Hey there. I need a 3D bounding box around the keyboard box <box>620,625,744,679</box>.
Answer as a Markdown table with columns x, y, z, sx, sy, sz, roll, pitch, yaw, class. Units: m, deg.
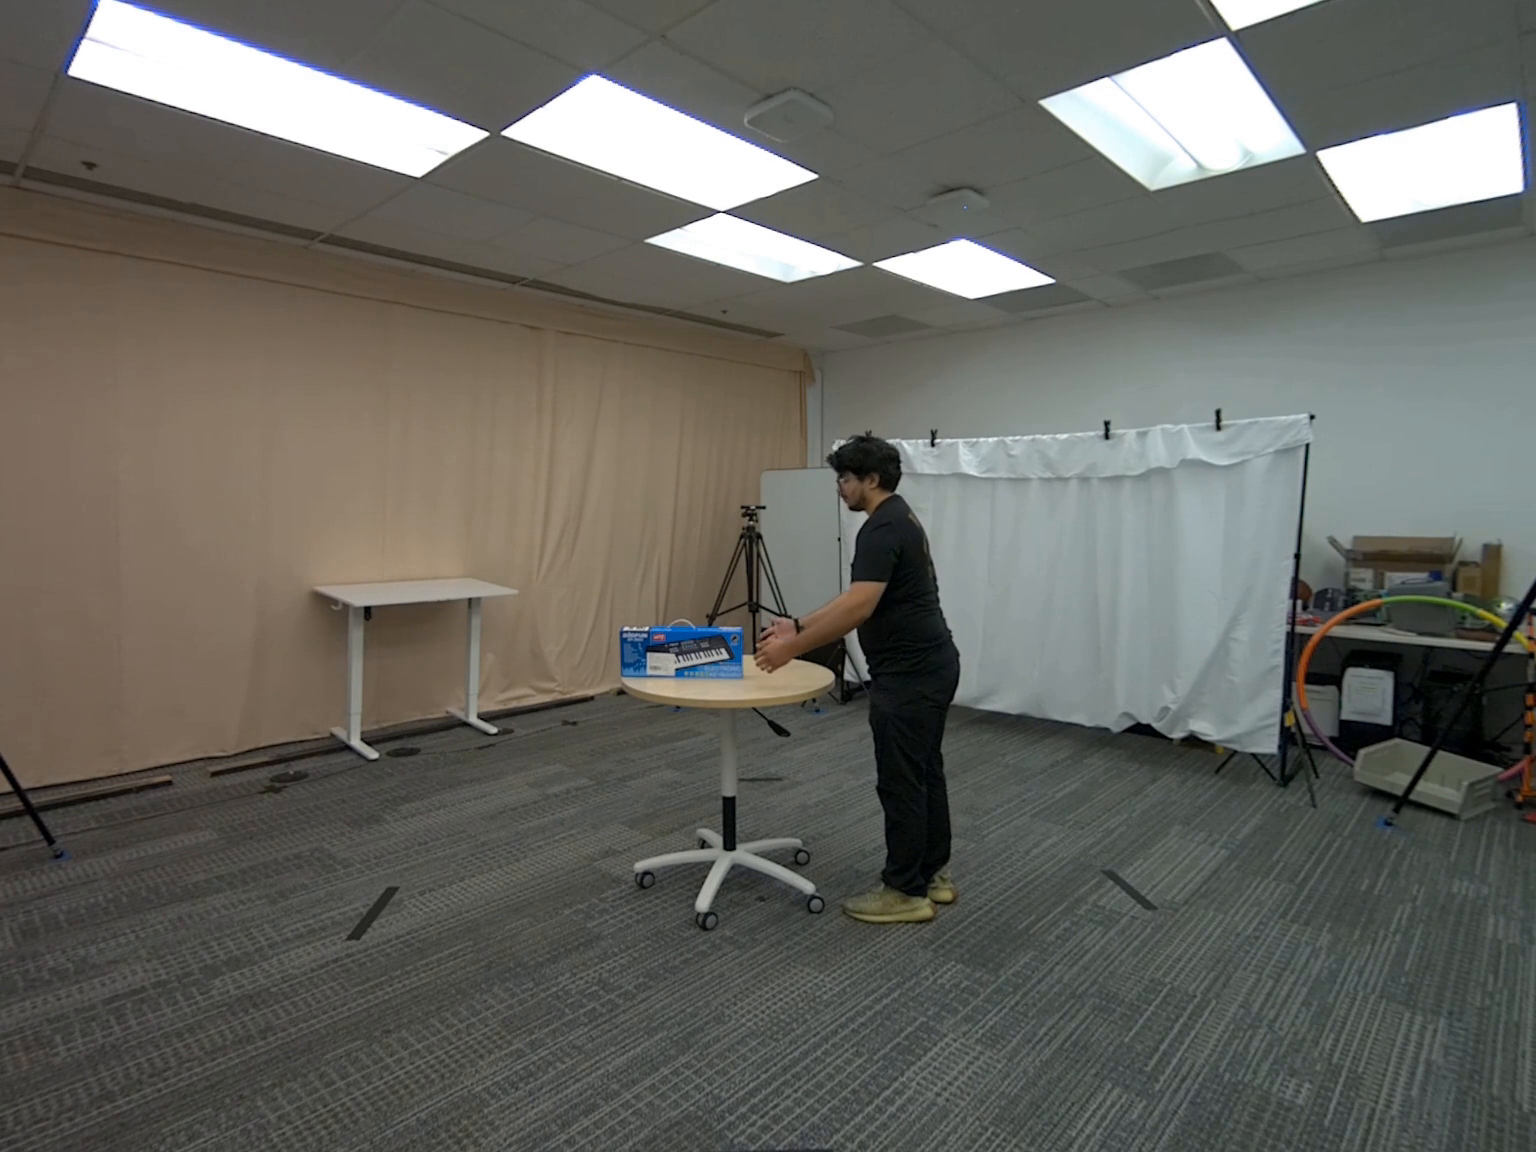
| x | y | z | sx | sy | sz | roll | pitch | yaw | class |
| --- | --- | --- | --- | --- | --- | --- | --- | --- | --- |
| -0.307 | 0.281 | 3.027 | 0.439 | 0.175 | 0.059 | 0 | 3 | 5 | keyboard box |
